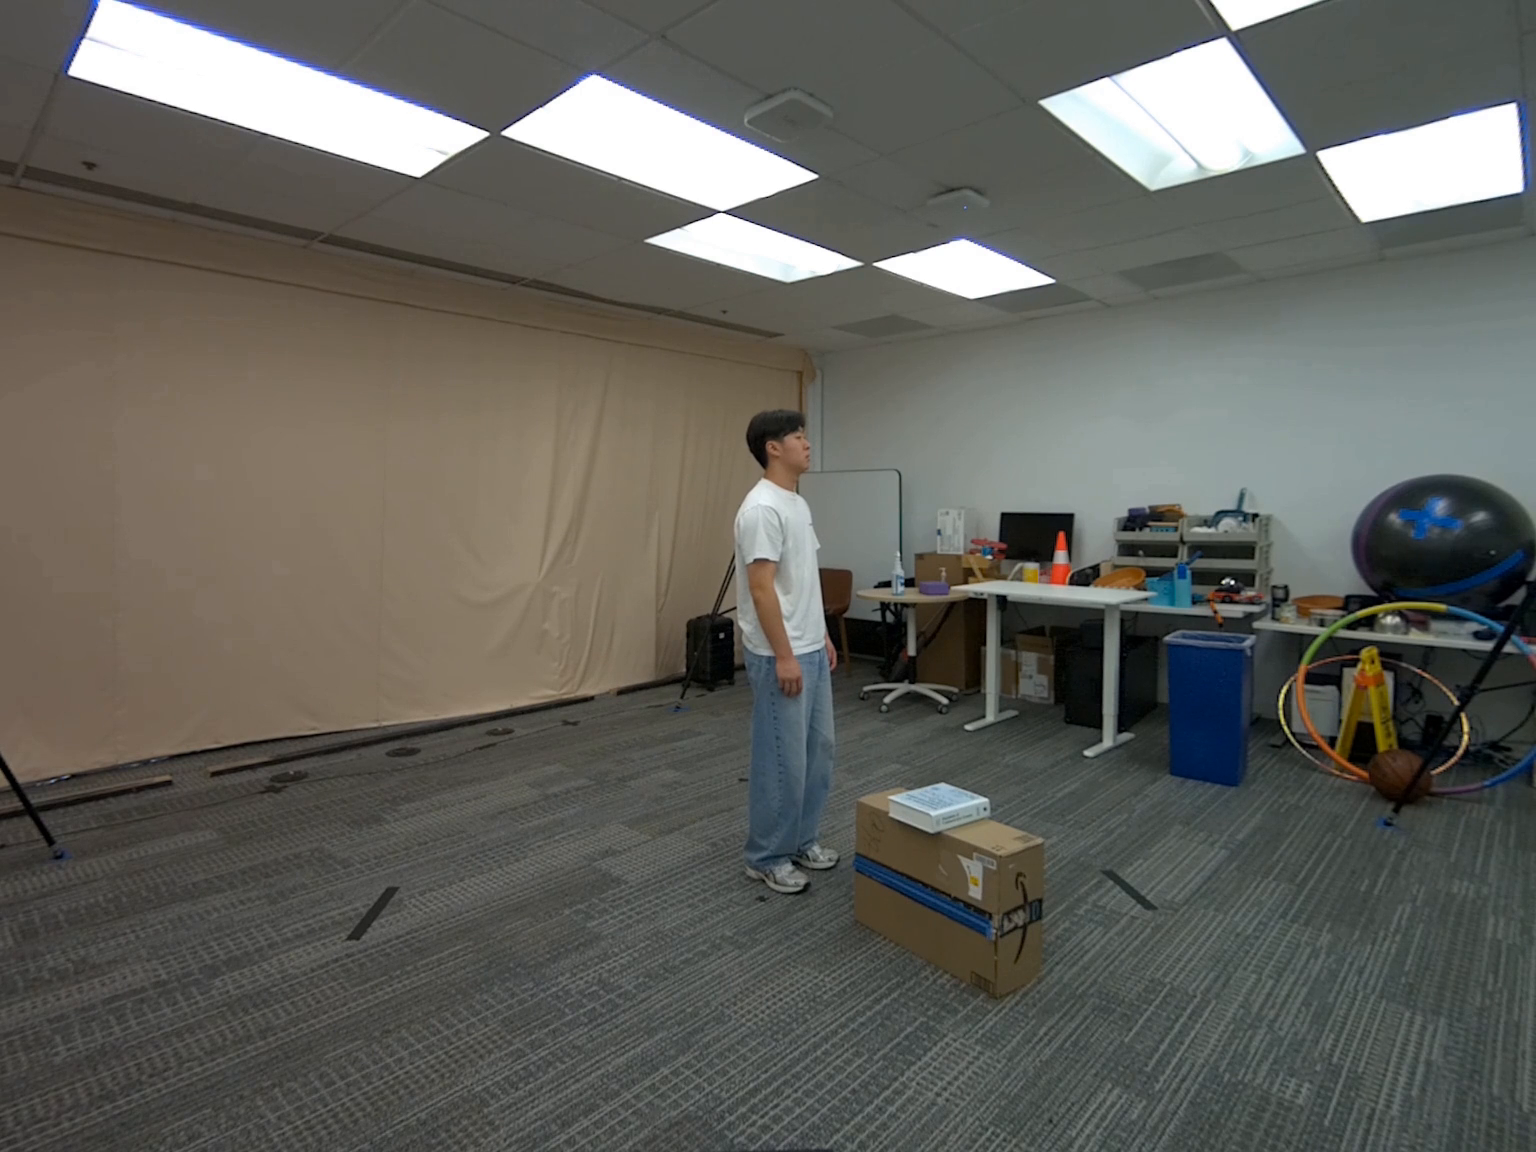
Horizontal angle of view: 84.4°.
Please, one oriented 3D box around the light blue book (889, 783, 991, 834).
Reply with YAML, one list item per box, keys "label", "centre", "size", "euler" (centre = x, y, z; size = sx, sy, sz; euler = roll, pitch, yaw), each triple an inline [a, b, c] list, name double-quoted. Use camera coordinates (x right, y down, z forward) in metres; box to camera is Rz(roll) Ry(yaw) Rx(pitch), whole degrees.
- label: "light blue book"
  centre: [0.545, 0.728, 2.638]
  size: [0.253, 0.059, 0.197]
  euler: [-3, 5, -36]
